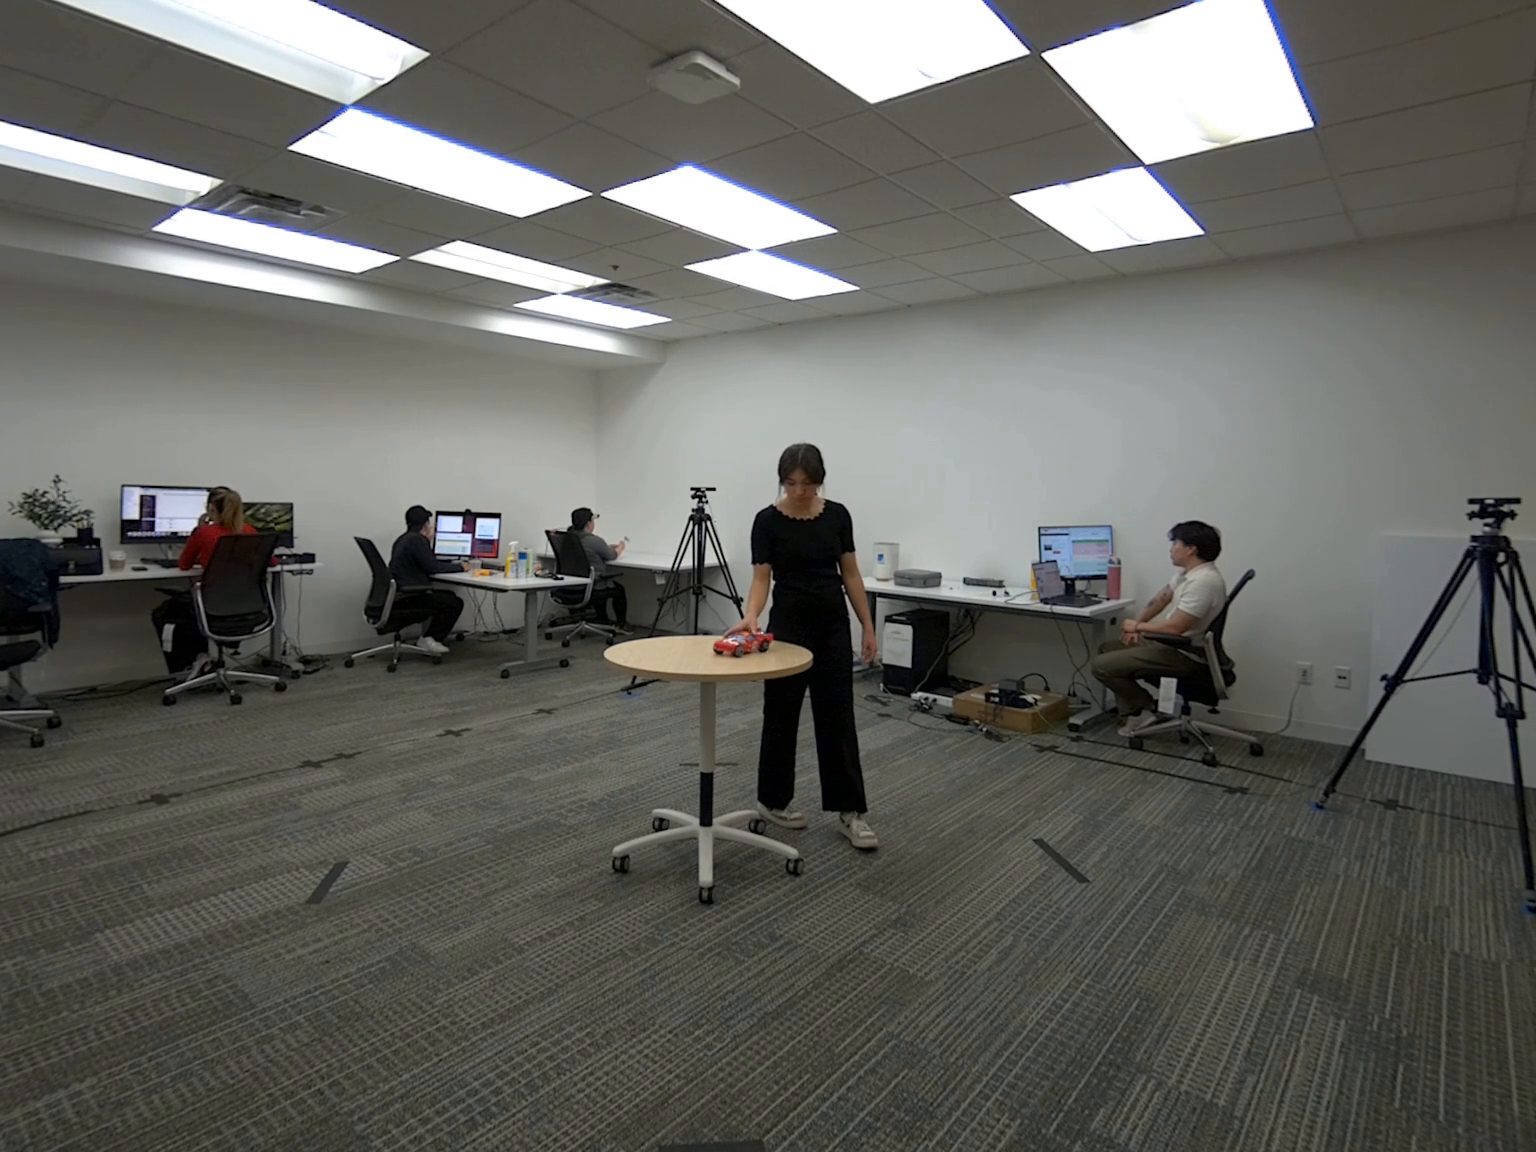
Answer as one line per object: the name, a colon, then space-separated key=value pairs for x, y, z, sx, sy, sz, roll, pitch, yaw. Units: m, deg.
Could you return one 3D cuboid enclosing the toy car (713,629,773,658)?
toy car: x=-0.093 y=0.250 z=3.147 sx=0.135 sy=0.082 sz=0.249 roll=4 pitch=17 yaw=41
